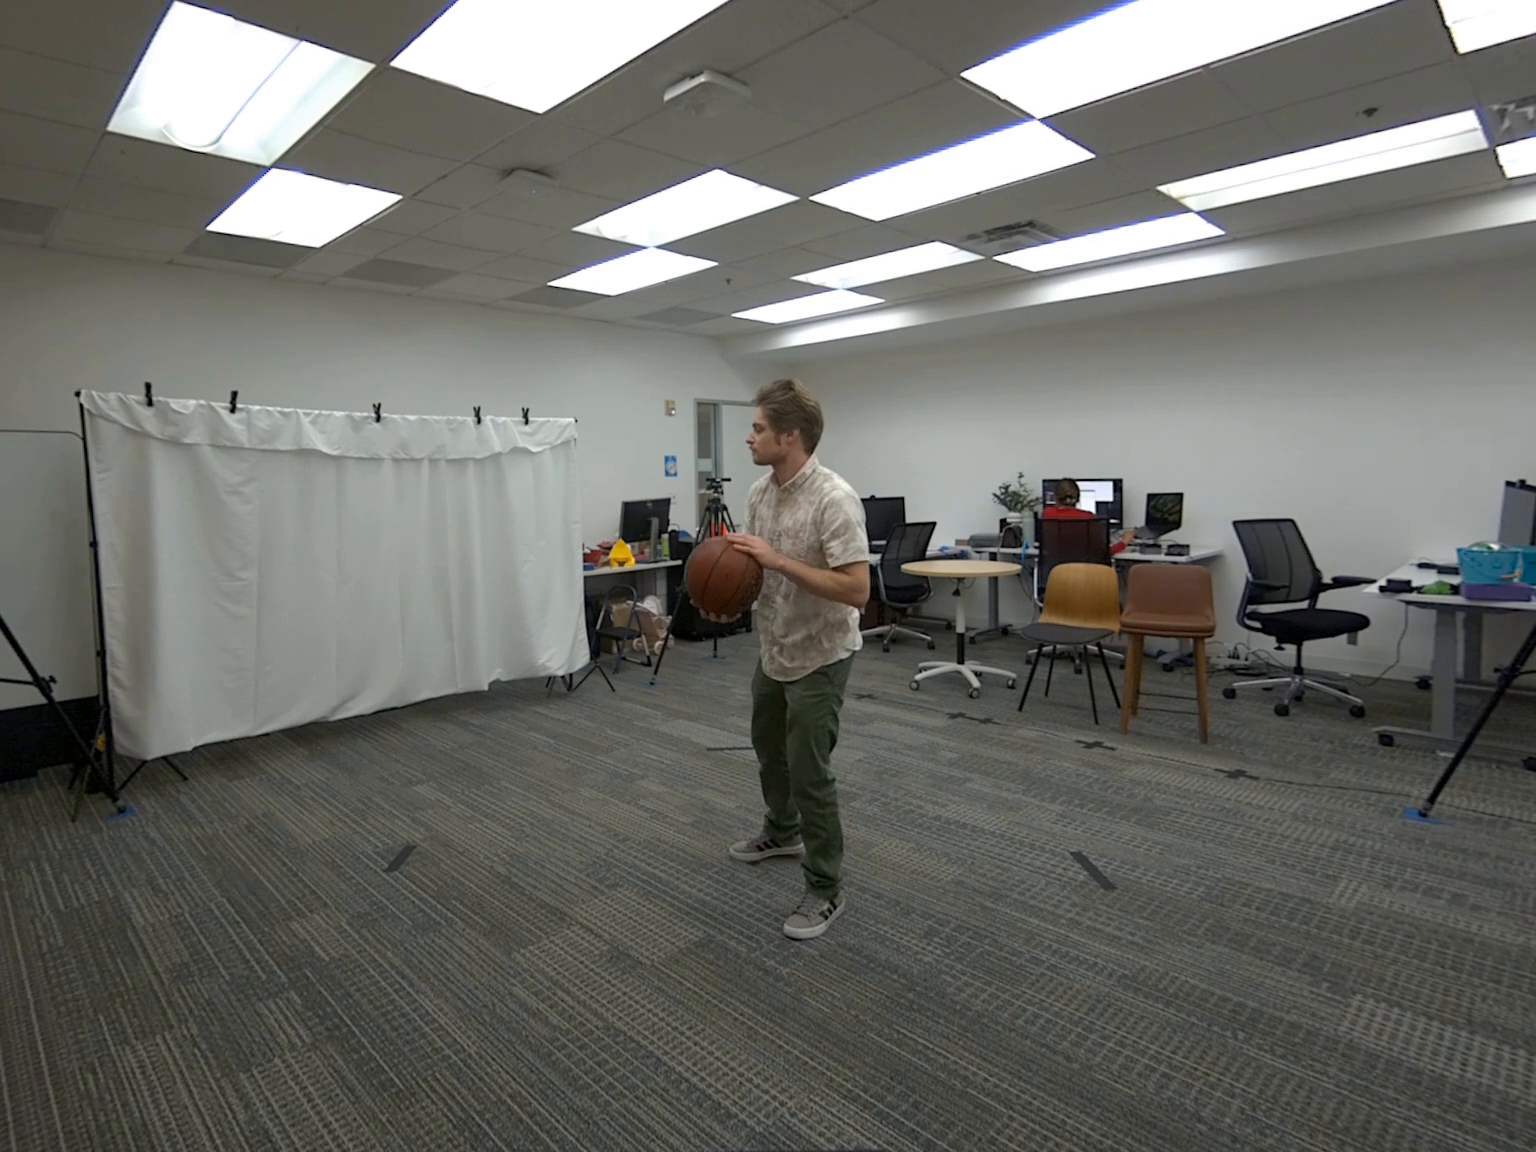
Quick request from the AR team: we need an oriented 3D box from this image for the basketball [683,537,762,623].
[{"bbox_3d":[-0.120,0.008,2.551,0.236,0.235,0.237,-1,5,-2],"label":"basketball"}]
